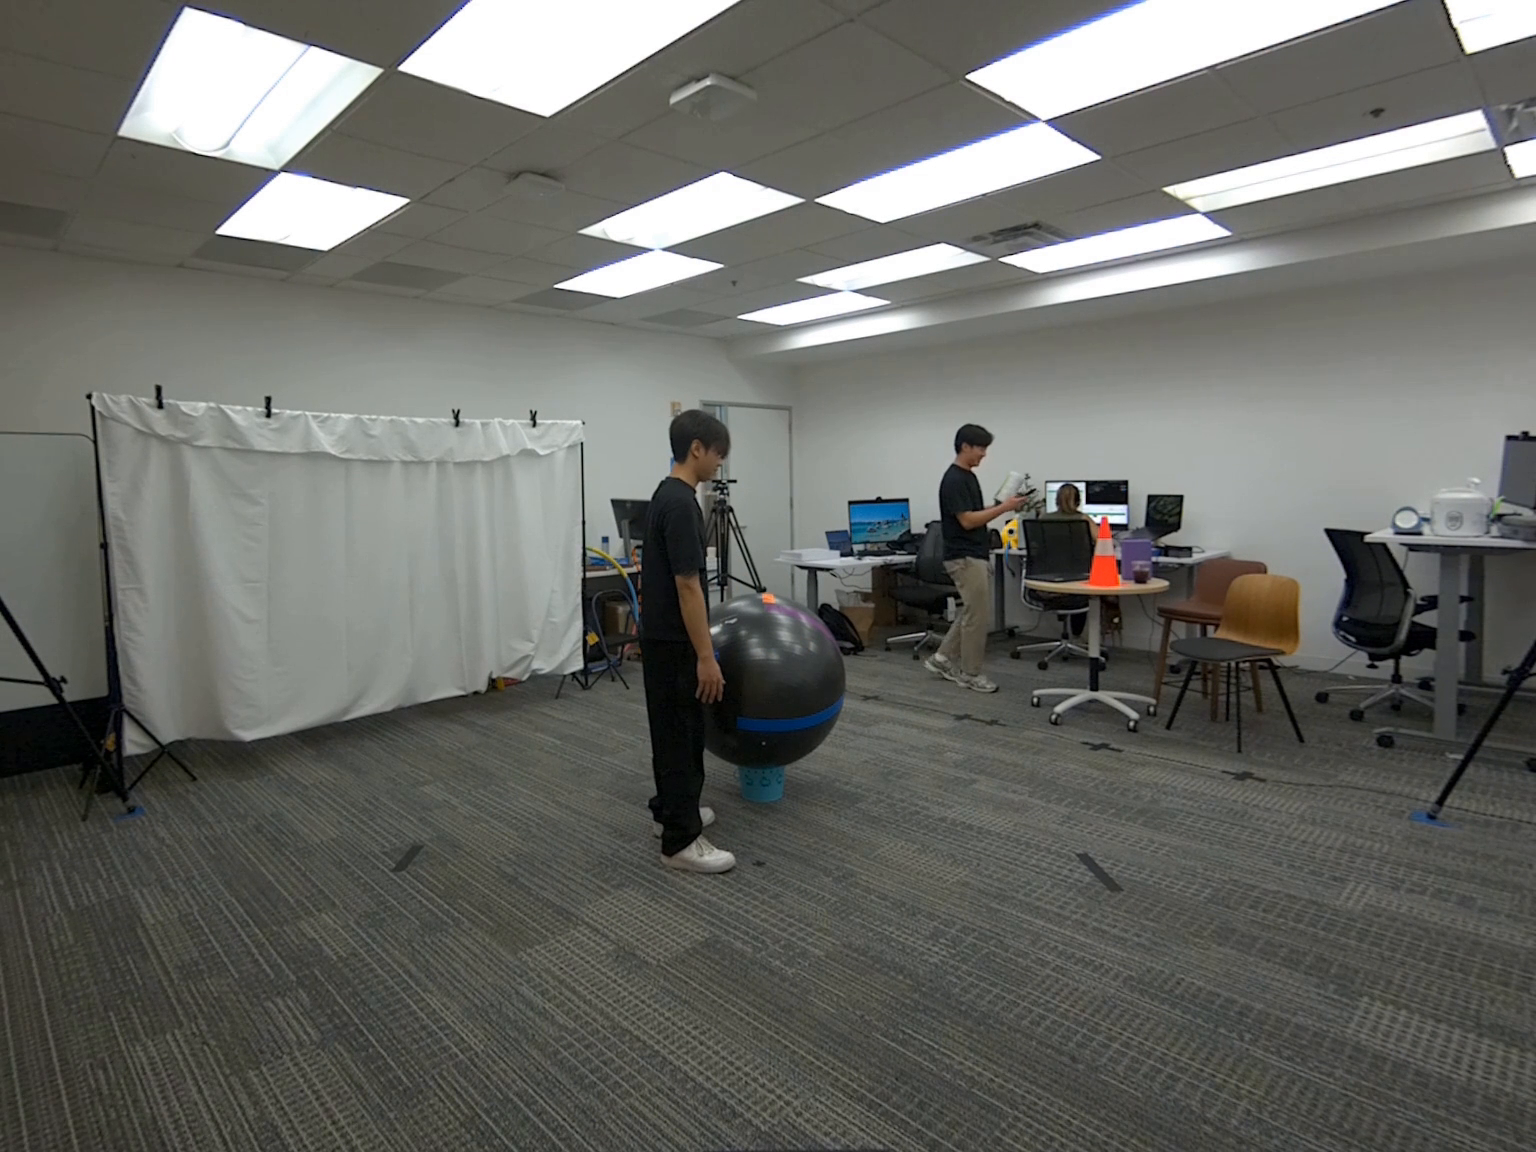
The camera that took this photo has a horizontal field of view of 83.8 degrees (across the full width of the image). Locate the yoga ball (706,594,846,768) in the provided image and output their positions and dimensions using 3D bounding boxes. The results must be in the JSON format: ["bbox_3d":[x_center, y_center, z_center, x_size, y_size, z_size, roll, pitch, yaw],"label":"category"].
[{"bbox_3d":[-0.033,0.465,3.782,0.757,0.755,0.762,-1,5,-2],"label":"yoga ball"}]
